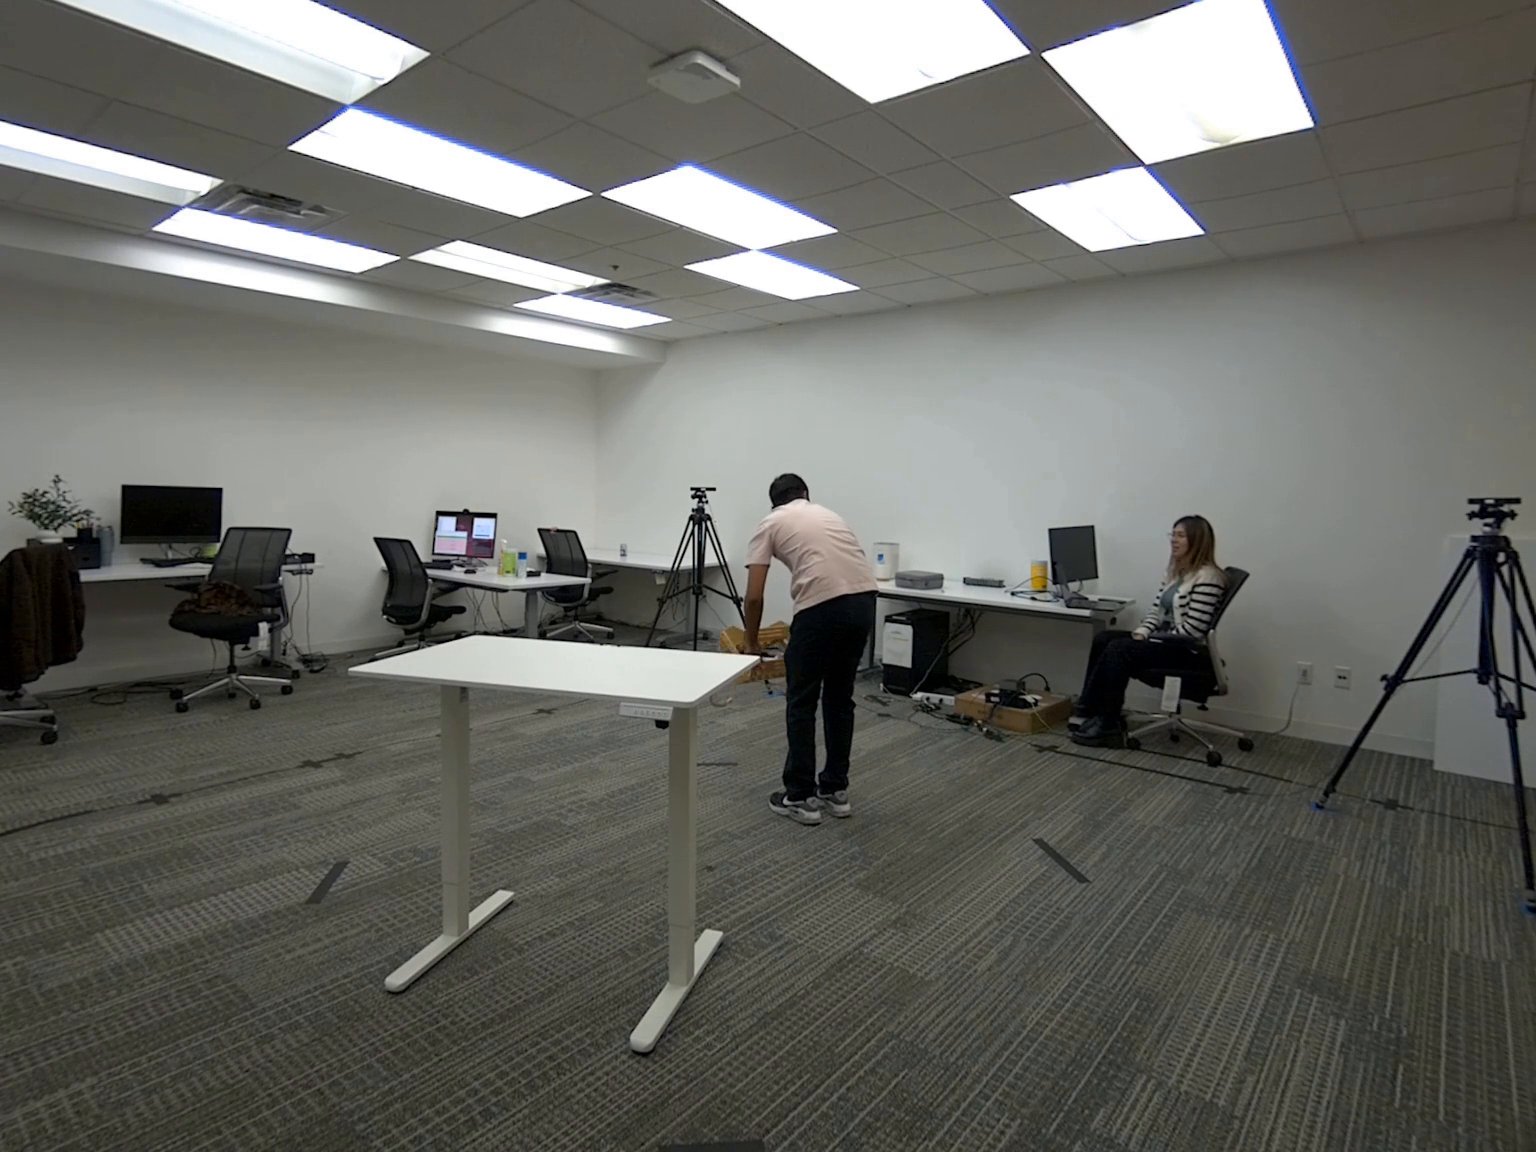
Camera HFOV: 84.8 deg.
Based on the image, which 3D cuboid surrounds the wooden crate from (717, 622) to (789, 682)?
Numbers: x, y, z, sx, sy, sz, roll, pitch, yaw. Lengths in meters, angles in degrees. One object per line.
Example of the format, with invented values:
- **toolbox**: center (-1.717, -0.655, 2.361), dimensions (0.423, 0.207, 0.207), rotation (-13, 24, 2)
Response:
- **wooden crate**: center (-0.021, 0.337, 4.013), dimensions (0.315, 0.278, 0.305), rotation (-3, -19, -39)
